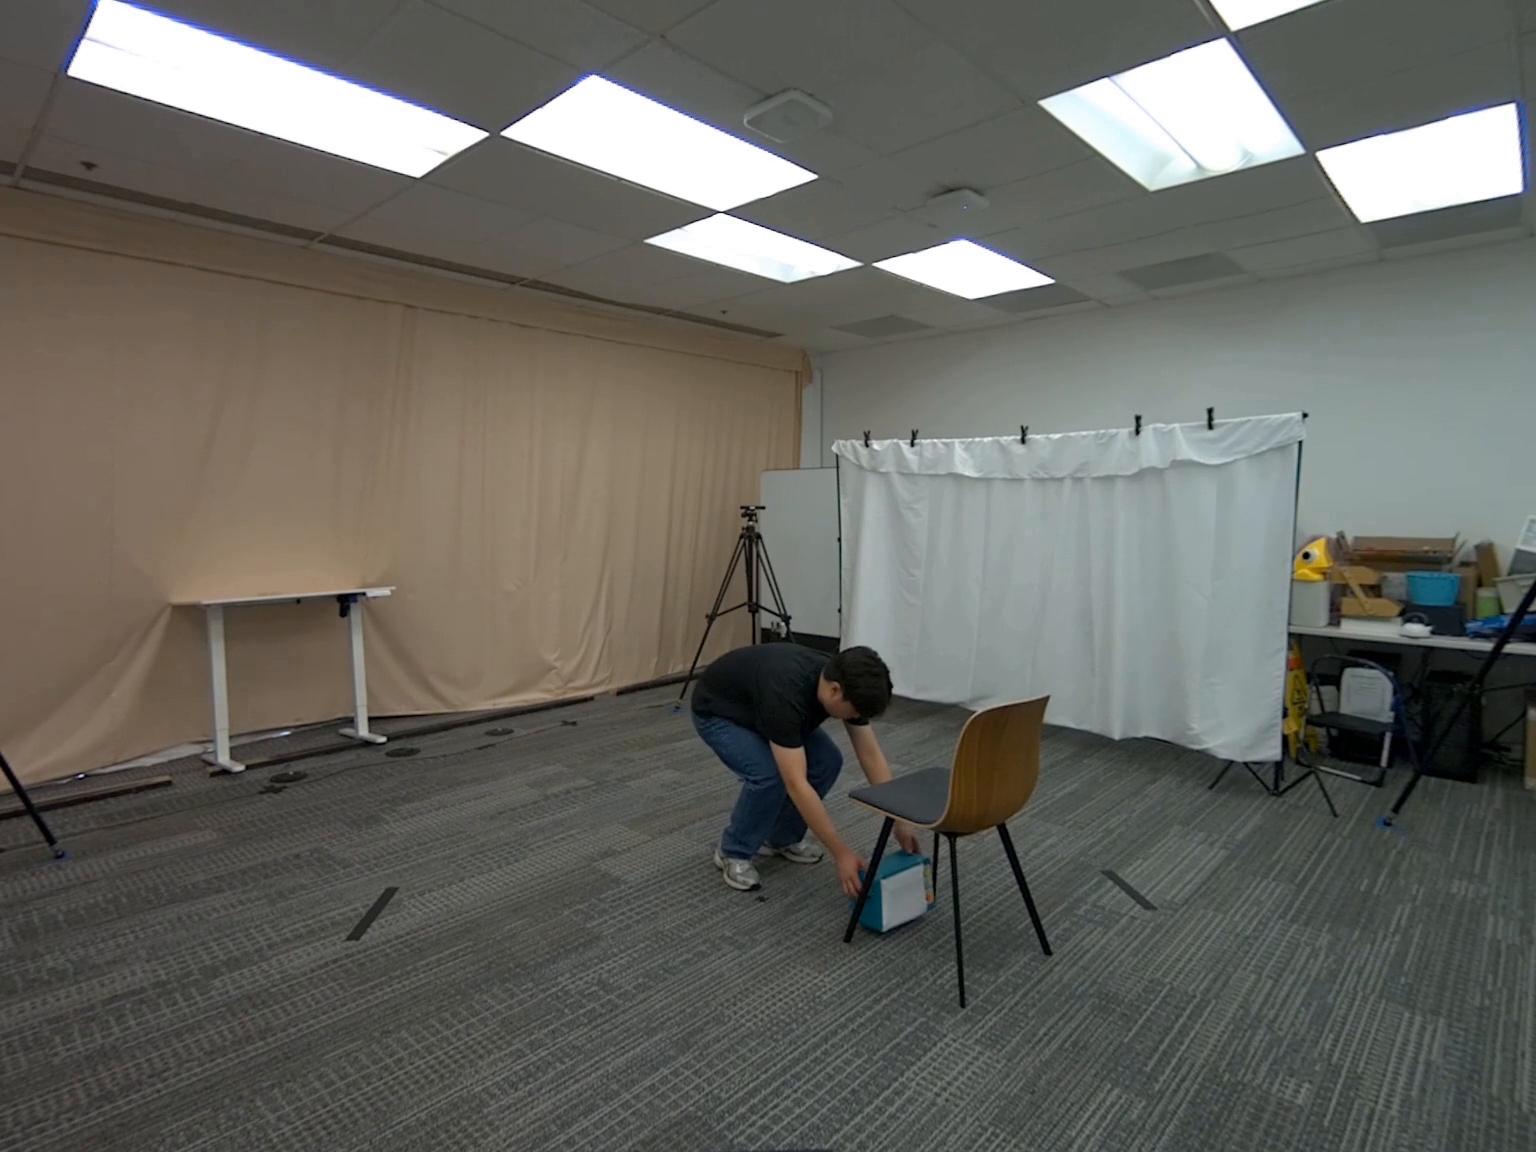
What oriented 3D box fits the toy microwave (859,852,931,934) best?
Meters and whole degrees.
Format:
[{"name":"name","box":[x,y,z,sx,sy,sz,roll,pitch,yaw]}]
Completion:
[{"name":"toy microwave","box":[0.424,1.050,2.804,0.278,0.184,0.157,-4,-1,-38]}]
